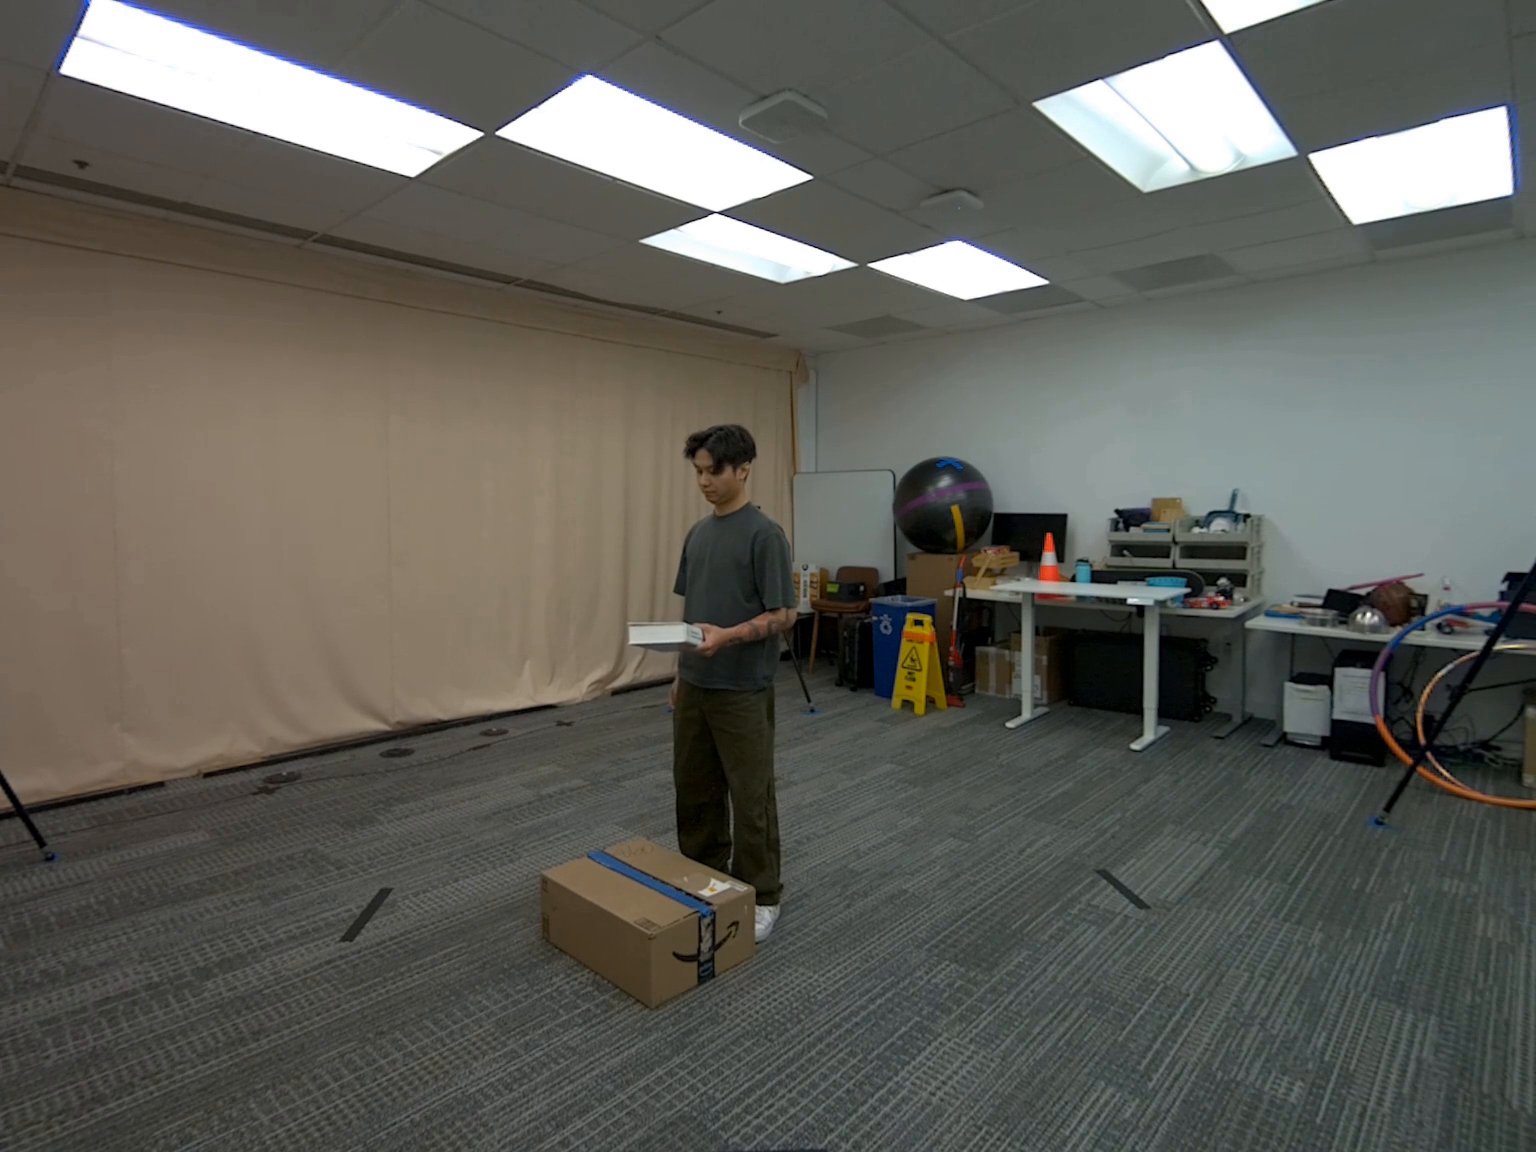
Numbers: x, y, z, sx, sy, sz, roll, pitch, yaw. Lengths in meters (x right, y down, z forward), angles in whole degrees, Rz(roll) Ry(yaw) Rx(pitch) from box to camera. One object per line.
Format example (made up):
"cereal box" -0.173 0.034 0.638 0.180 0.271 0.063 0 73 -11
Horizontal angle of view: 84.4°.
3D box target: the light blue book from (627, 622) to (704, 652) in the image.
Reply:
"light blue book" -0.309 0.186 2.597 0.195 0.059 0.255 -1 -9 16
